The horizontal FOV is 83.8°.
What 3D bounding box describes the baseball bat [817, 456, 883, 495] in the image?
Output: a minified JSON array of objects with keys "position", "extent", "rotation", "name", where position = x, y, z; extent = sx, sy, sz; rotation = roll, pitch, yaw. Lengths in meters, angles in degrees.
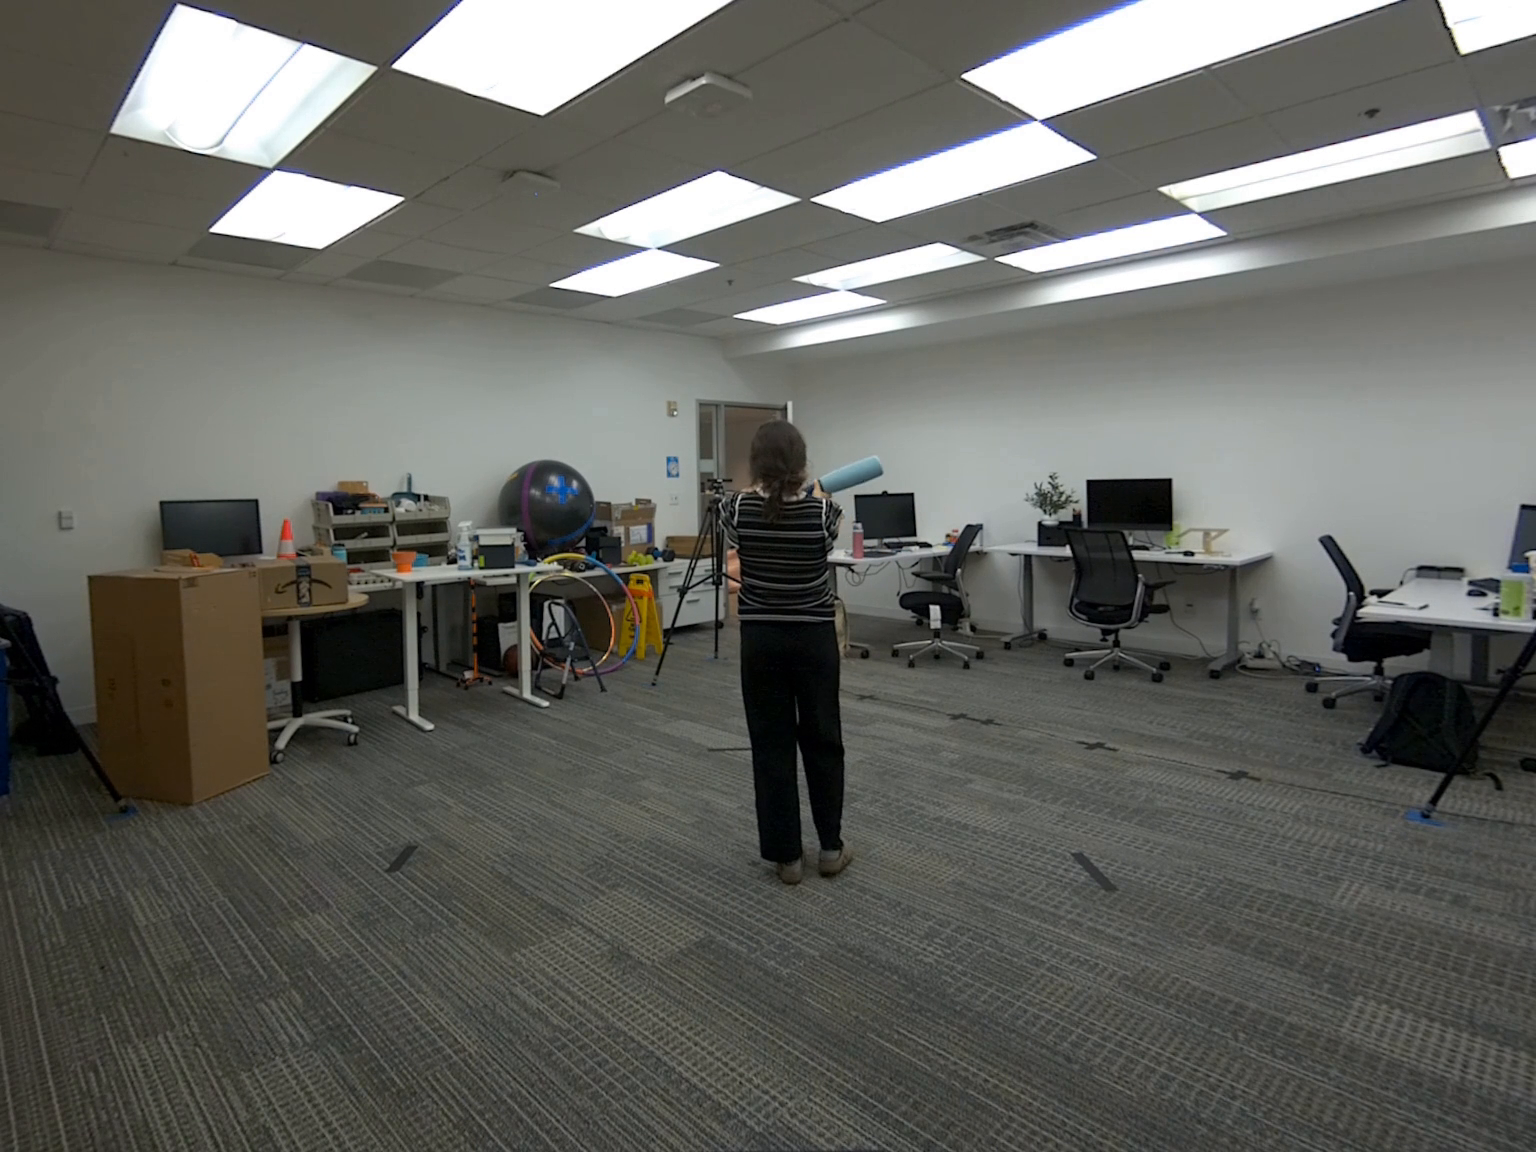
[{"position":[0.207,-0.351,3.435],"extent":[0.543,0.088,0.089],"rotation":[-22,5,1],"name":"baseball bat"}]
